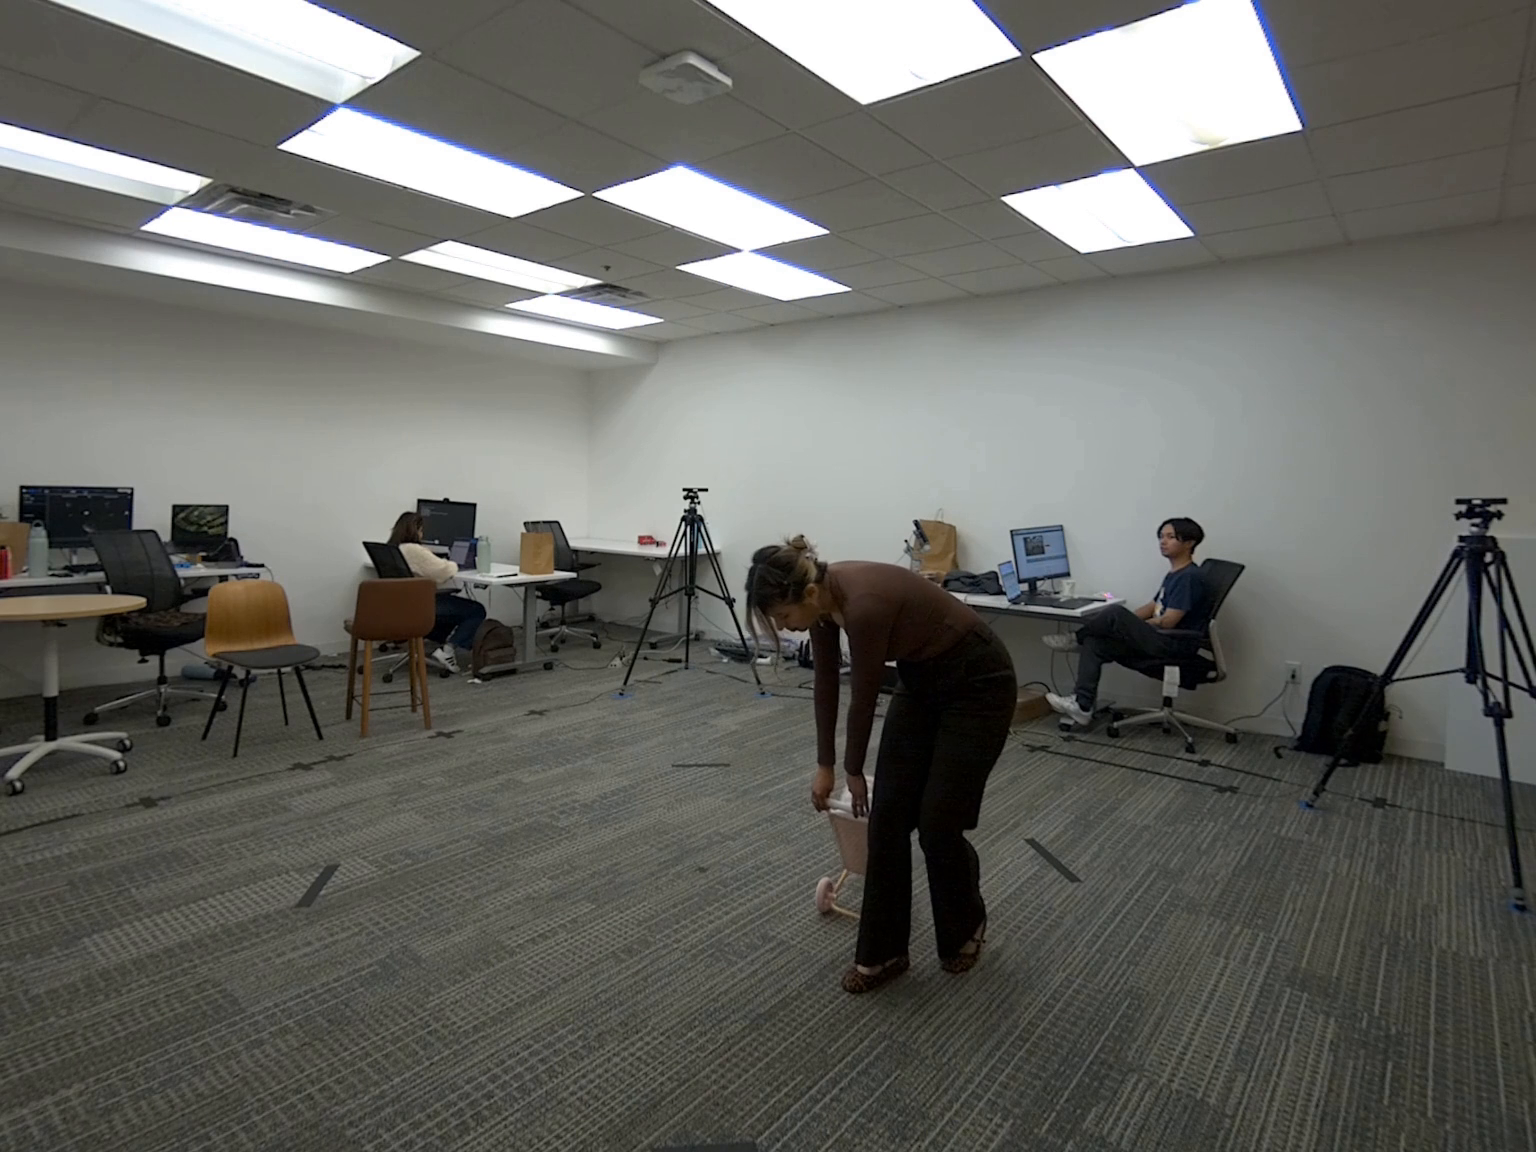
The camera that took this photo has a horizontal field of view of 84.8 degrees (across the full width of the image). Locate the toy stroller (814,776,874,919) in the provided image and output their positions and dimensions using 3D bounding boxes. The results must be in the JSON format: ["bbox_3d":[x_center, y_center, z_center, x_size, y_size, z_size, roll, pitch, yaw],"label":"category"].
[{"bbox_3d":[0.325,0.887,2.793,0.290,0.526,0.336,4,20,35],"label":"toy stroller"}]
